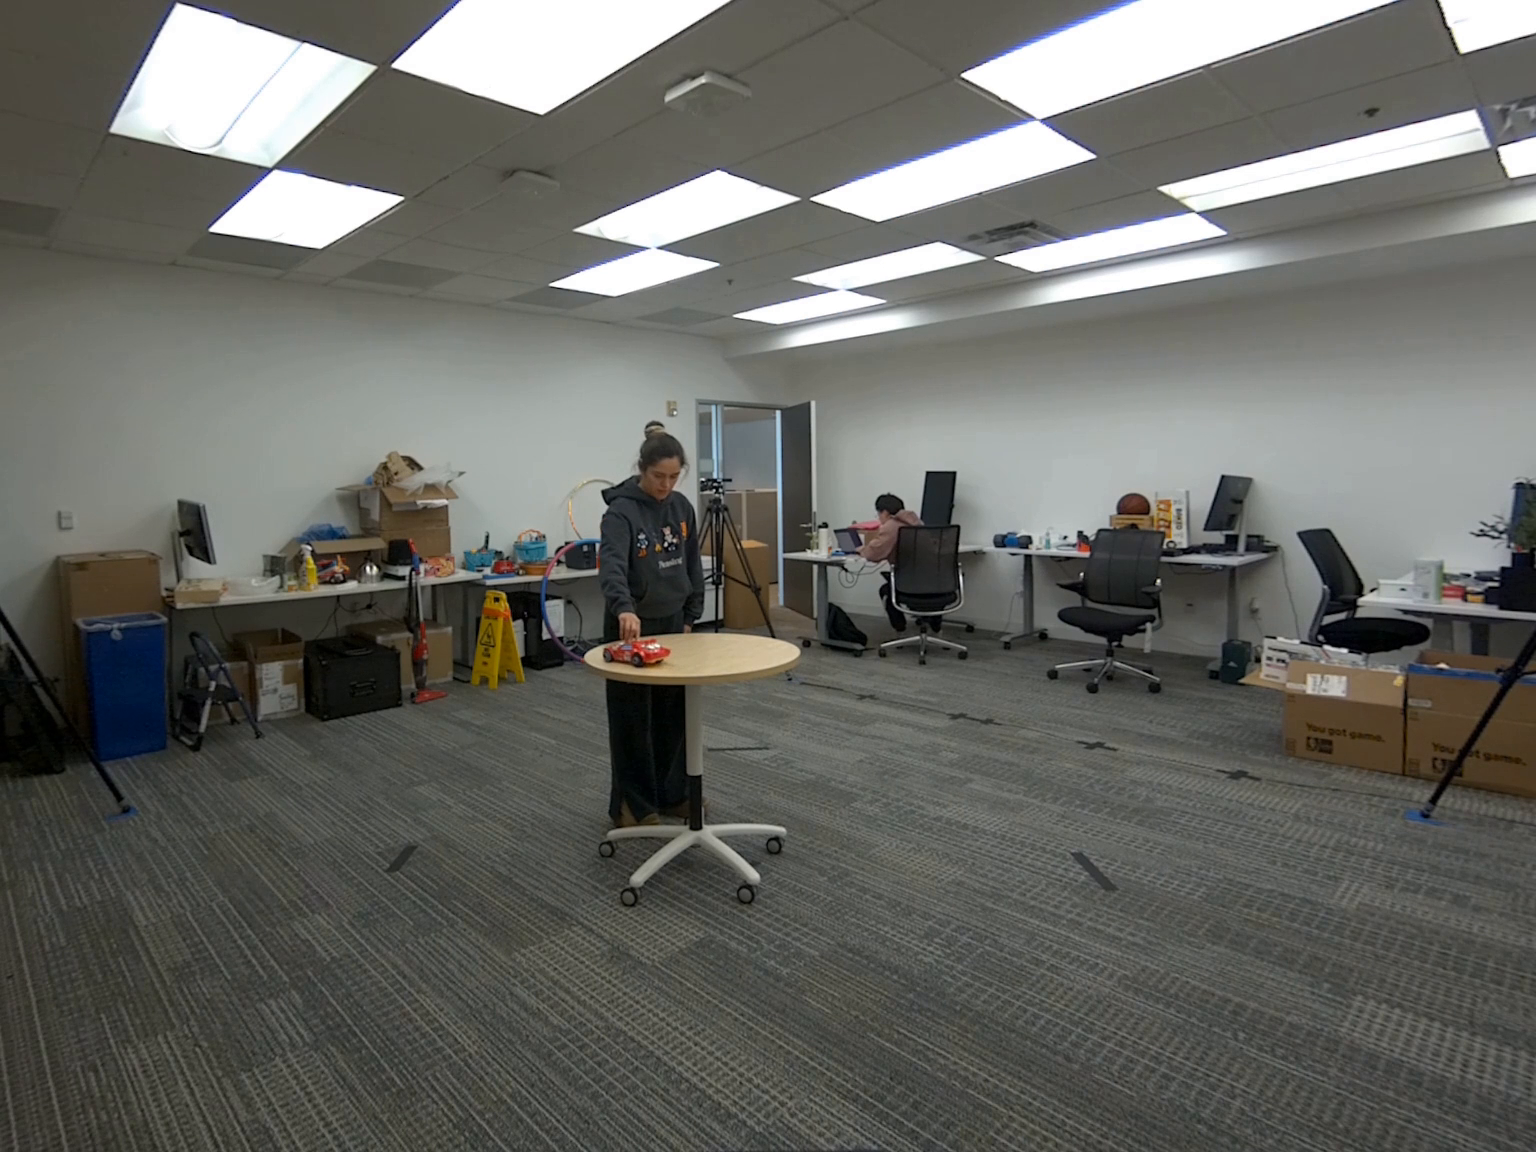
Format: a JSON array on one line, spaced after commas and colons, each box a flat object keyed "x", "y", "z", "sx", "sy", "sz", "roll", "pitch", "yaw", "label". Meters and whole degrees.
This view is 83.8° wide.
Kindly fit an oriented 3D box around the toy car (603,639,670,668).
[{"x": -0.442, "y": 0.265, "z": 2.866, "sx": 0.260, "sy": 0.083, "sz": 0.127, "roll": -11, "pitch": -2, "yaw": 40, "label": "toy car"}]
